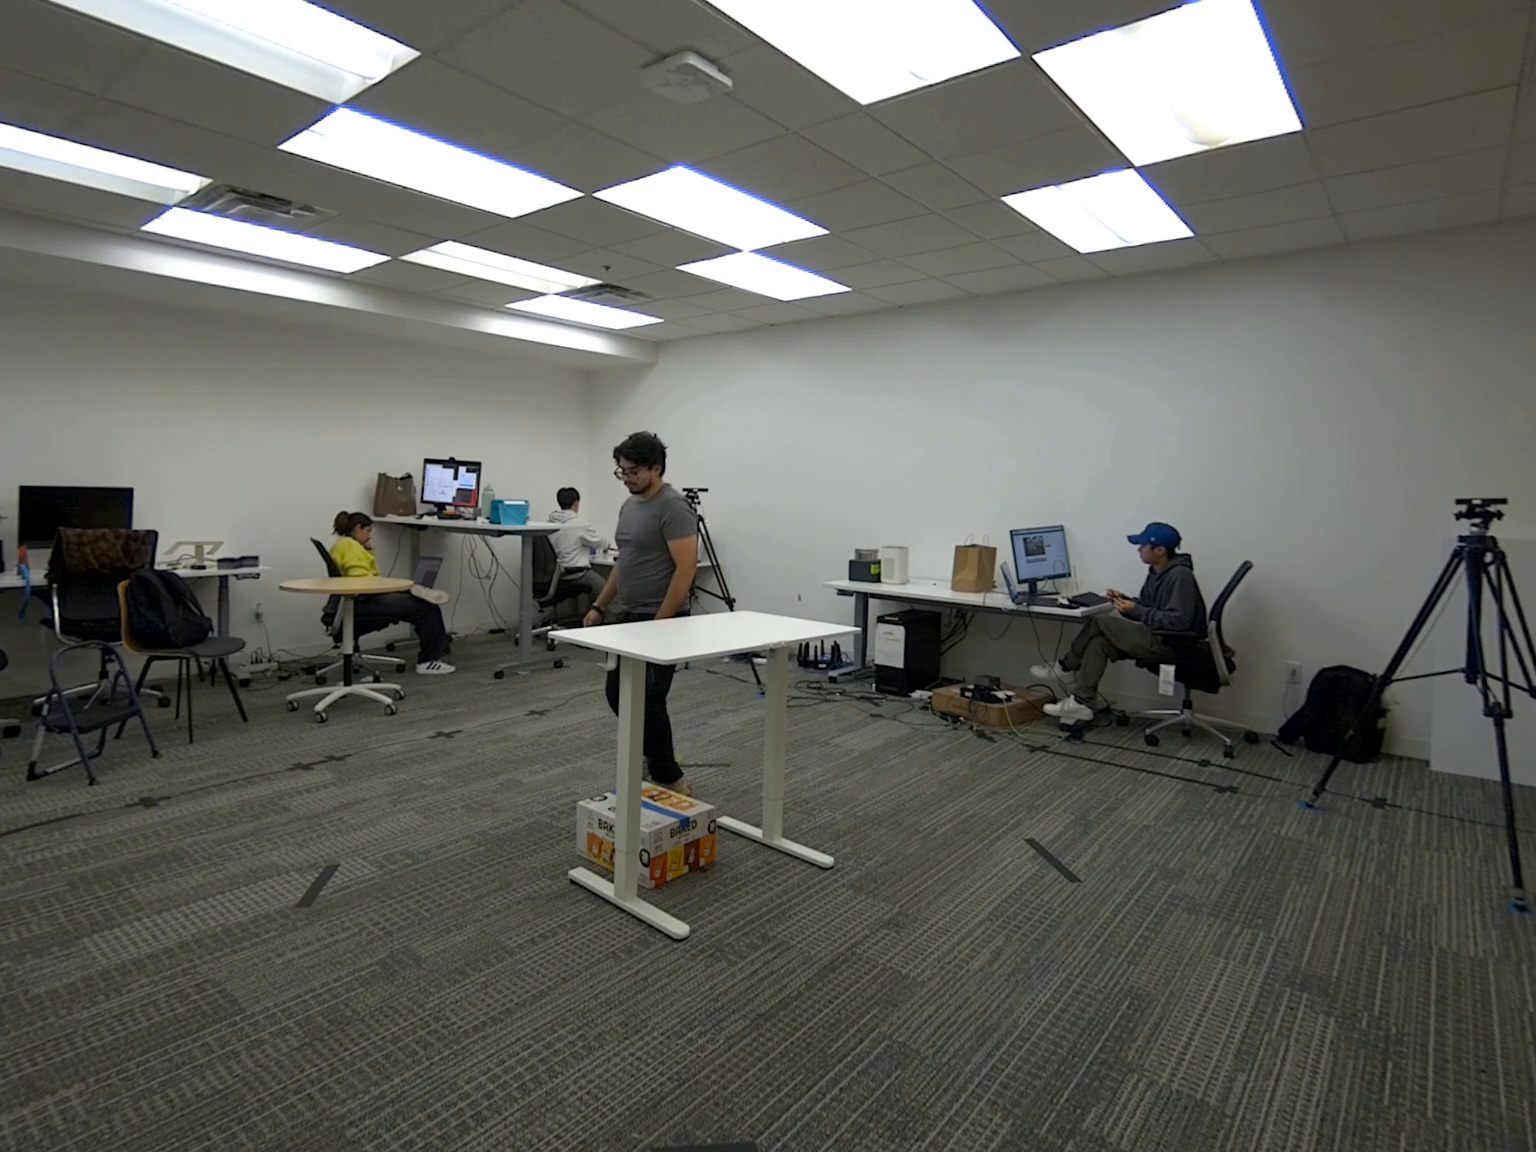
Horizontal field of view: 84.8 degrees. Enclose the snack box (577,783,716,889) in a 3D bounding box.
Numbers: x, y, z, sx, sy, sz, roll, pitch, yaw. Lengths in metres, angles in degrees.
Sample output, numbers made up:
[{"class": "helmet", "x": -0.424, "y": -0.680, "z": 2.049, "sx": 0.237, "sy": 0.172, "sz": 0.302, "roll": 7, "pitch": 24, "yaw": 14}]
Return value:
[{"class": "snack box", "x": -0.468, "y": 0.957, "z": 3.191, "sx": 0.419, "sy": 0.205, "sz": 0.330, "roll": 6, "pitch": 6, "yaw": 41}]
